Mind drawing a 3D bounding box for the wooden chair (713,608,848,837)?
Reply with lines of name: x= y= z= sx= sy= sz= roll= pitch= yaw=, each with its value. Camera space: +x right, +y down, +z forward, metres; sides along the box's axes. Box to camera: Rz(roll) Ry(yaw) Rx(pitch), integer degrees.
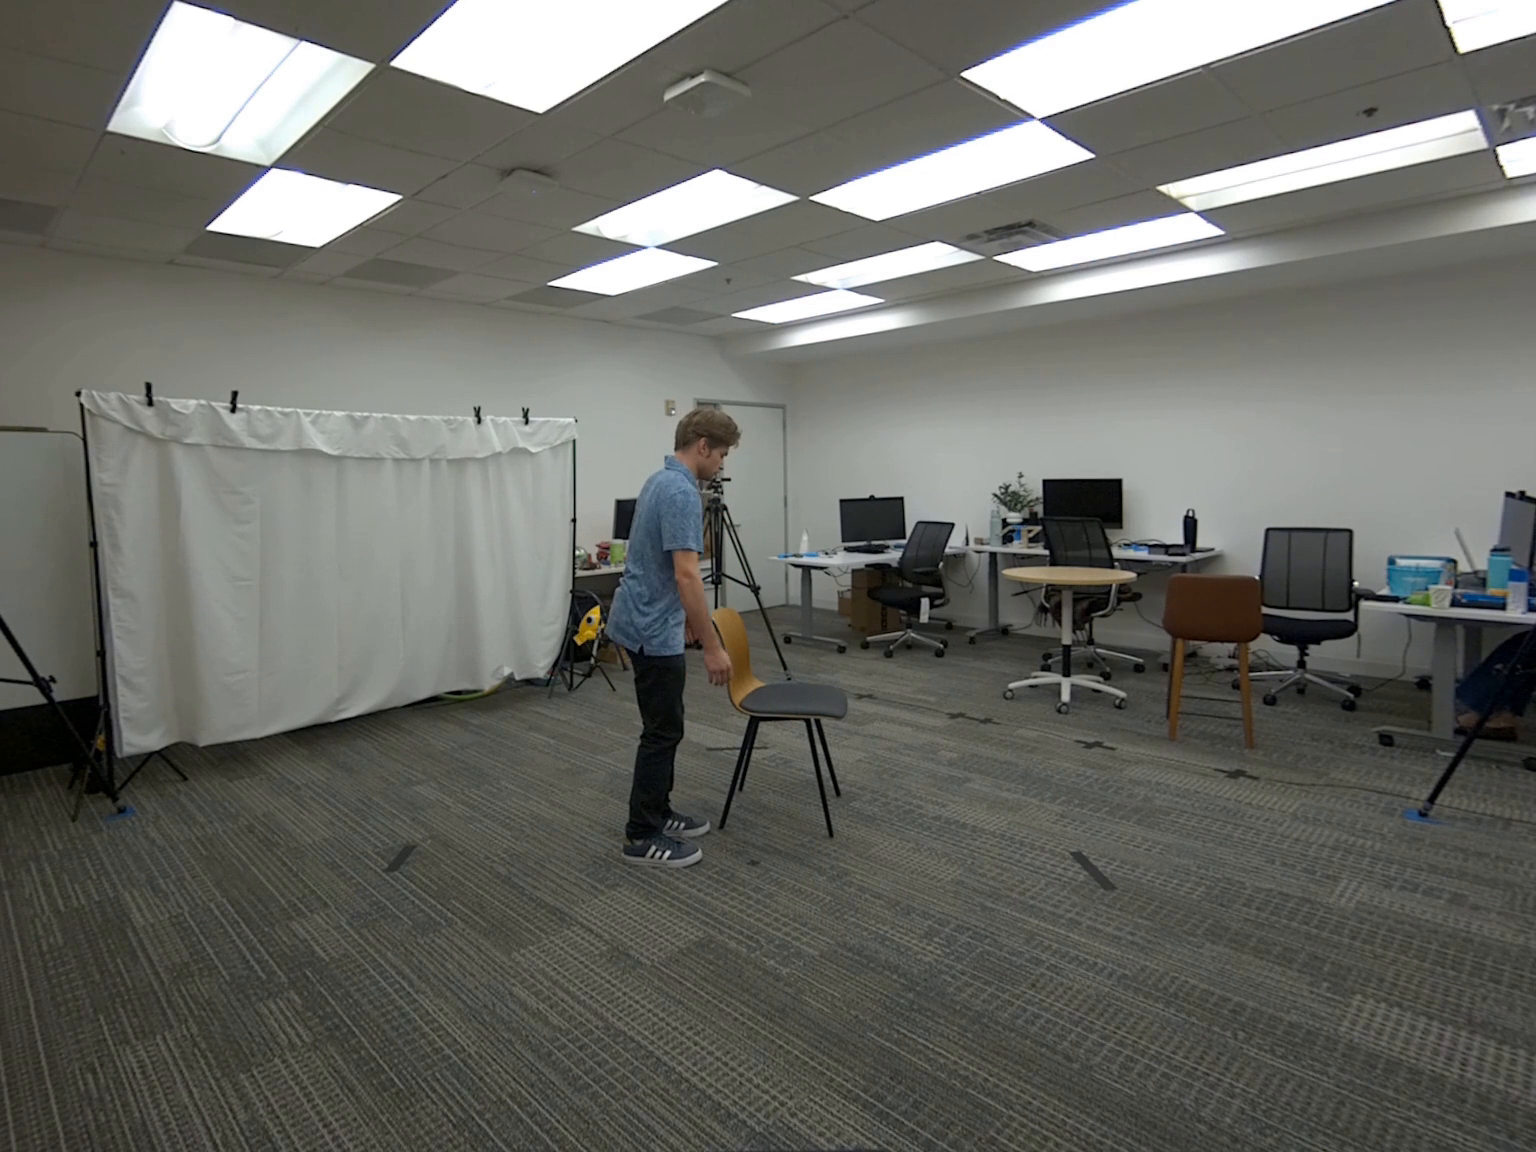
wooden chair: x=0.066 y=0.562 z=3.542 sx=0.529 sy=0.875 sz=0.474 roll=-4 pitch=3 yaw=11
